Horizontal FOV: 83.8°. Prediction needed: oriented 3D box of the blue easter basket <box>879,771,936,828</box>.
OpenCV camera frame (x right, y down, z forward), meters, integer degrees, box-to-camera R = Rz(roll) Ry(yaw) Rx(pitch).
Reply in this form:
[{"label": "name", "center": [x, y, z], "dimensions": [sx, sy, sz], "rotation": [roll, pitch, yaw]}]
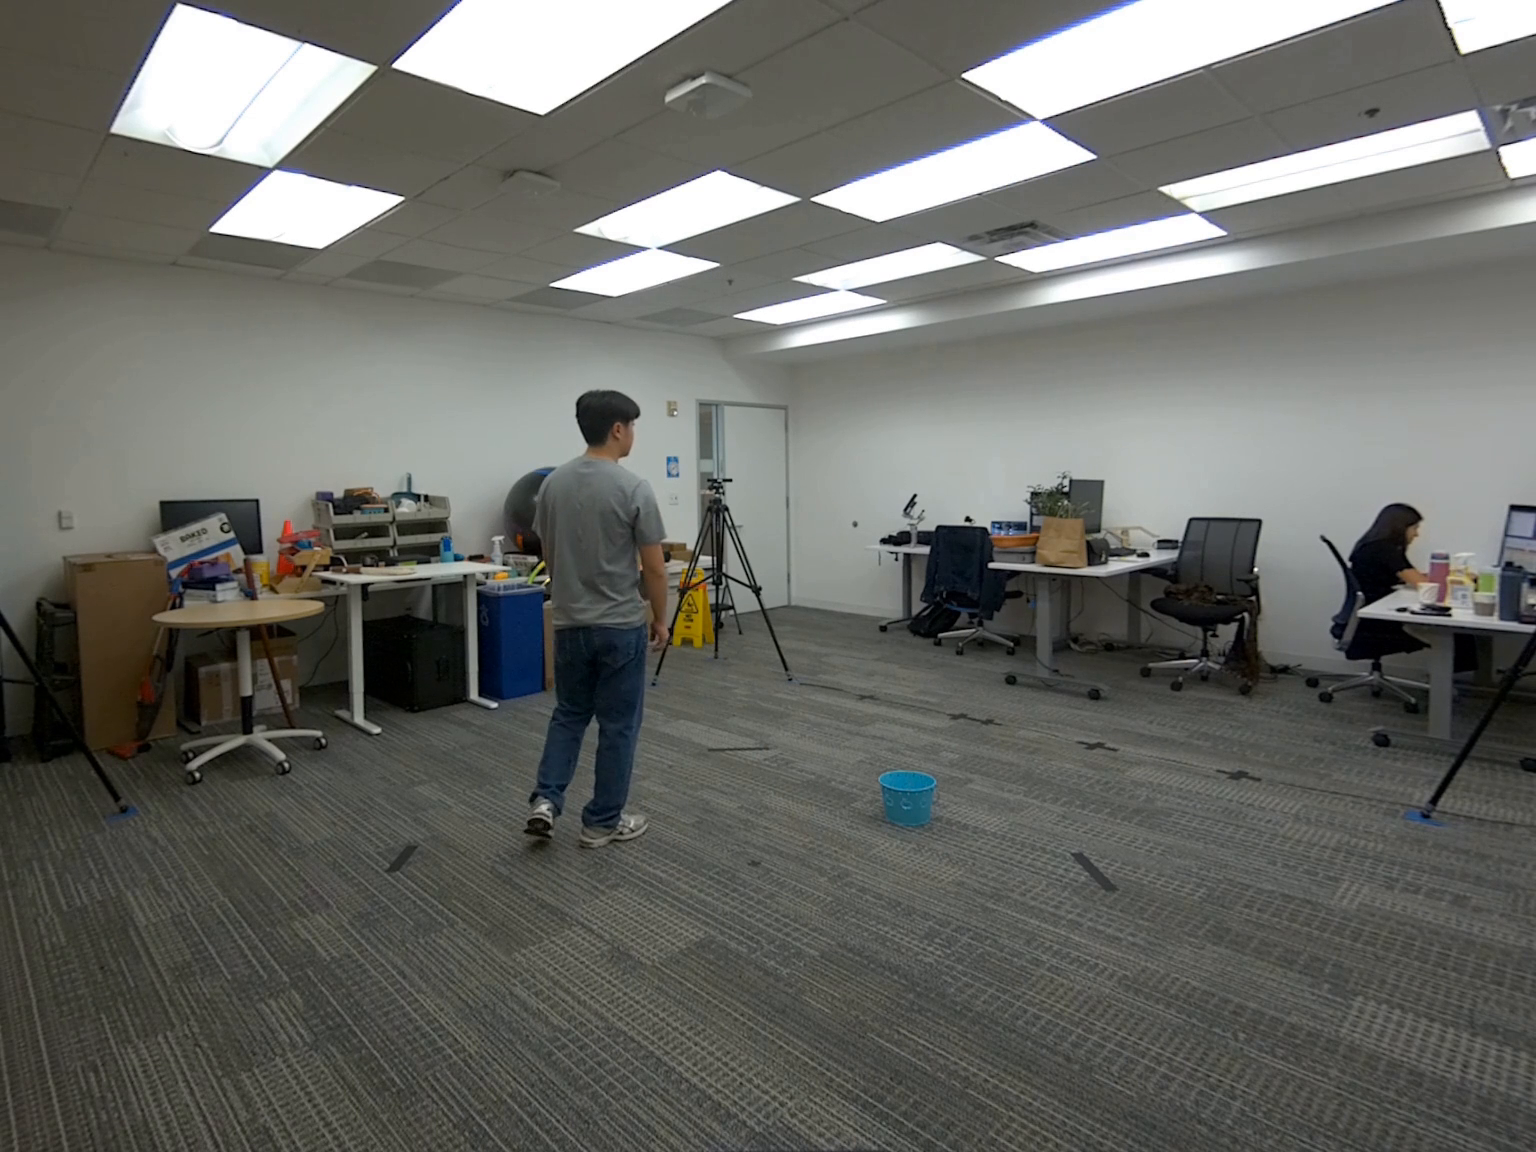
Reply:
[{"label": "blue easter basket", "center": [0.574, 0.906, 3.507], "dimensions": [0.243, 0.155, 0.245], "rotation": [-1, 5, -2]}]
